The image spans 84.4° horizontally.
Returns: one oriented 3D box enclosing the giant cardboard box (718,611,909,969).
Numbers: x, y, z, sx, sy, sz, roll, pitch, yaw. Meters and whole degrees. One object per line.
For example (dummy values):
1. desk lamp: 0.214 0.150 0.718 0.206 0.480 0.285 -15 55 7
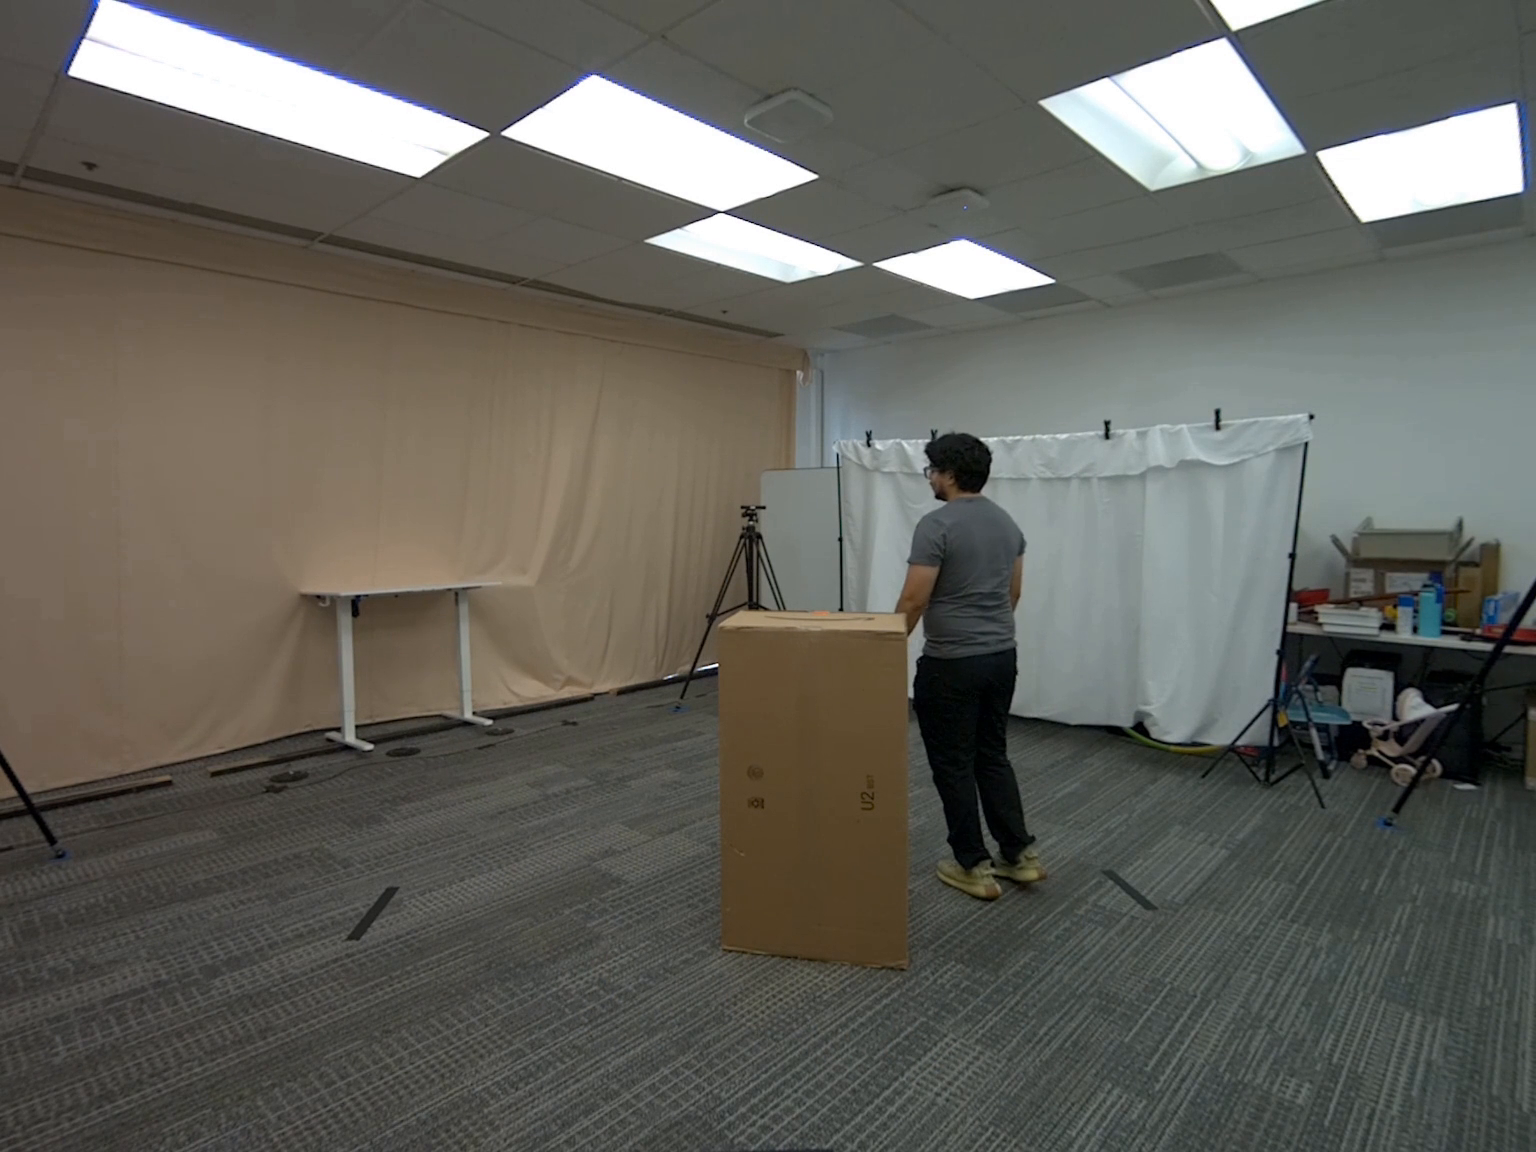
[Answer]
1. giant cardboard box: 0.165 0.650 2.761 0.585 1.024 0.421 0 3 12
